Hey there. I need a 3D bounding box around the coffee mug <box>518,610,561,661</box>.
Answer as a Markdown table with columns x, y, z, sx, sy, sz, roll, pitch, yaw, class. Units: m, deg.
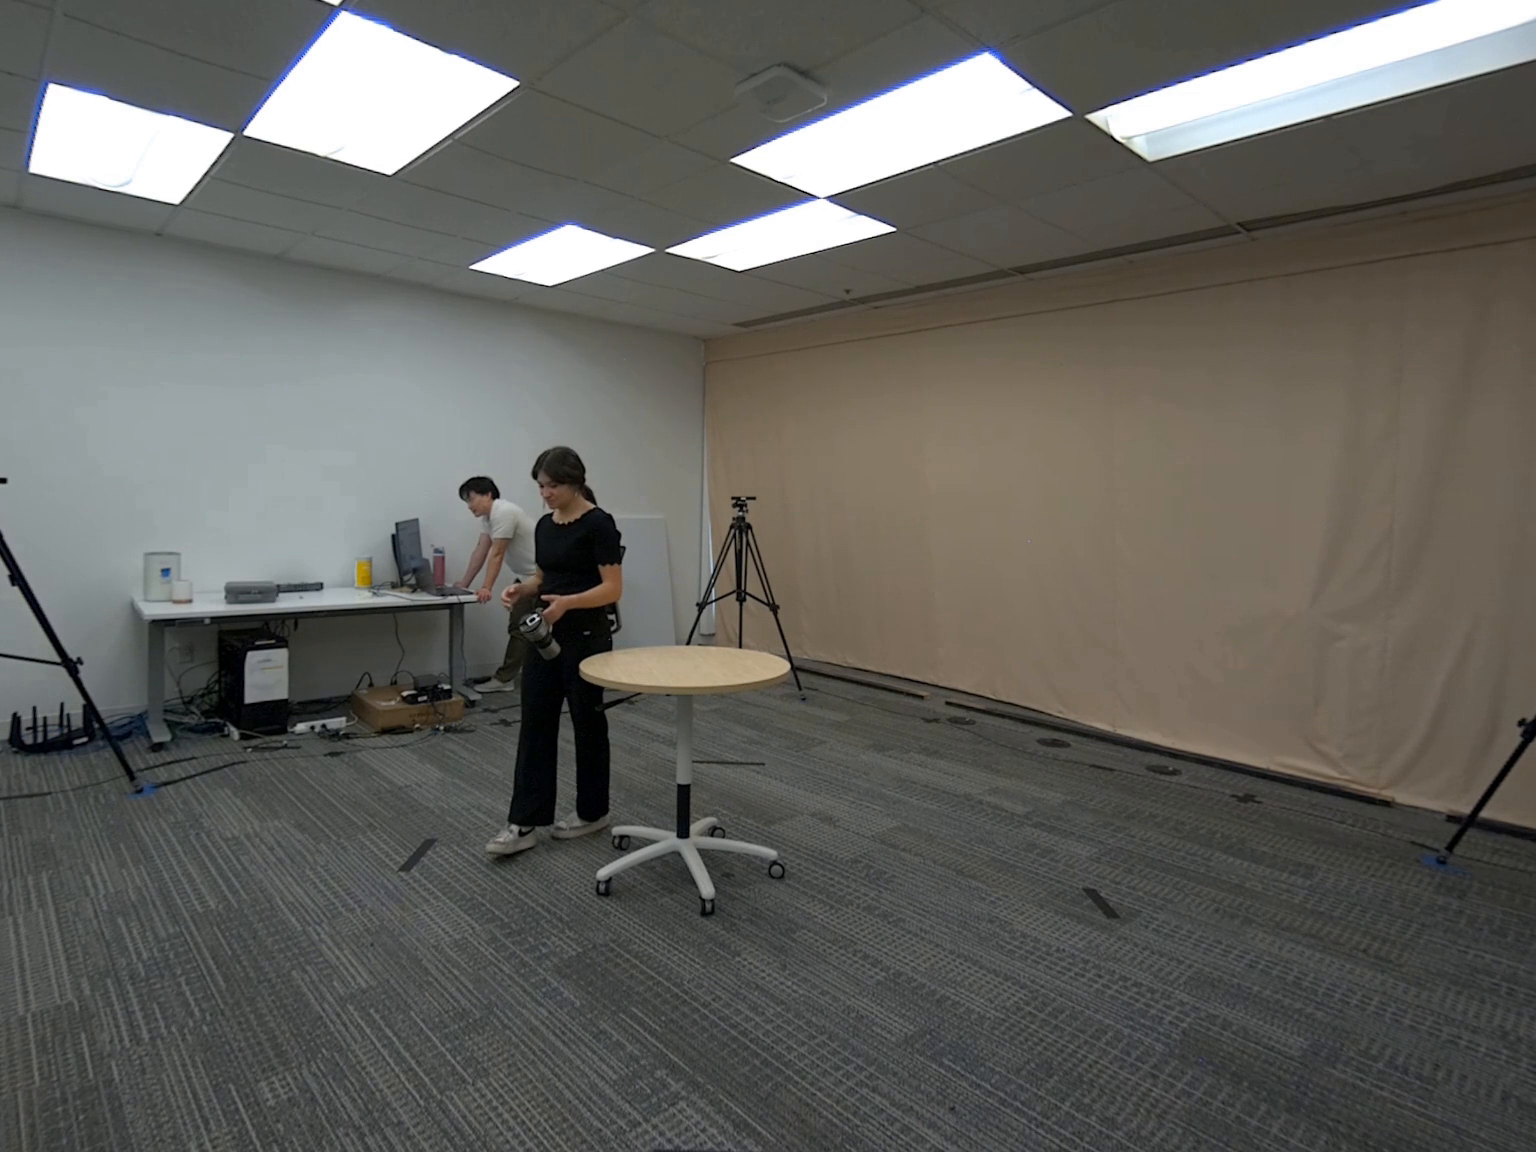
| x | y | z | sx | sy | sz | roll | pitch | yaw | class |
| --- | --- | --- | --- | --- | --- | --- | --- | --- | --- |
| -0.830 | 0.212 | 3.079 | 0.090 | 0.122 | 0.197 | 12 | -34 | 30 | coffee mug |
